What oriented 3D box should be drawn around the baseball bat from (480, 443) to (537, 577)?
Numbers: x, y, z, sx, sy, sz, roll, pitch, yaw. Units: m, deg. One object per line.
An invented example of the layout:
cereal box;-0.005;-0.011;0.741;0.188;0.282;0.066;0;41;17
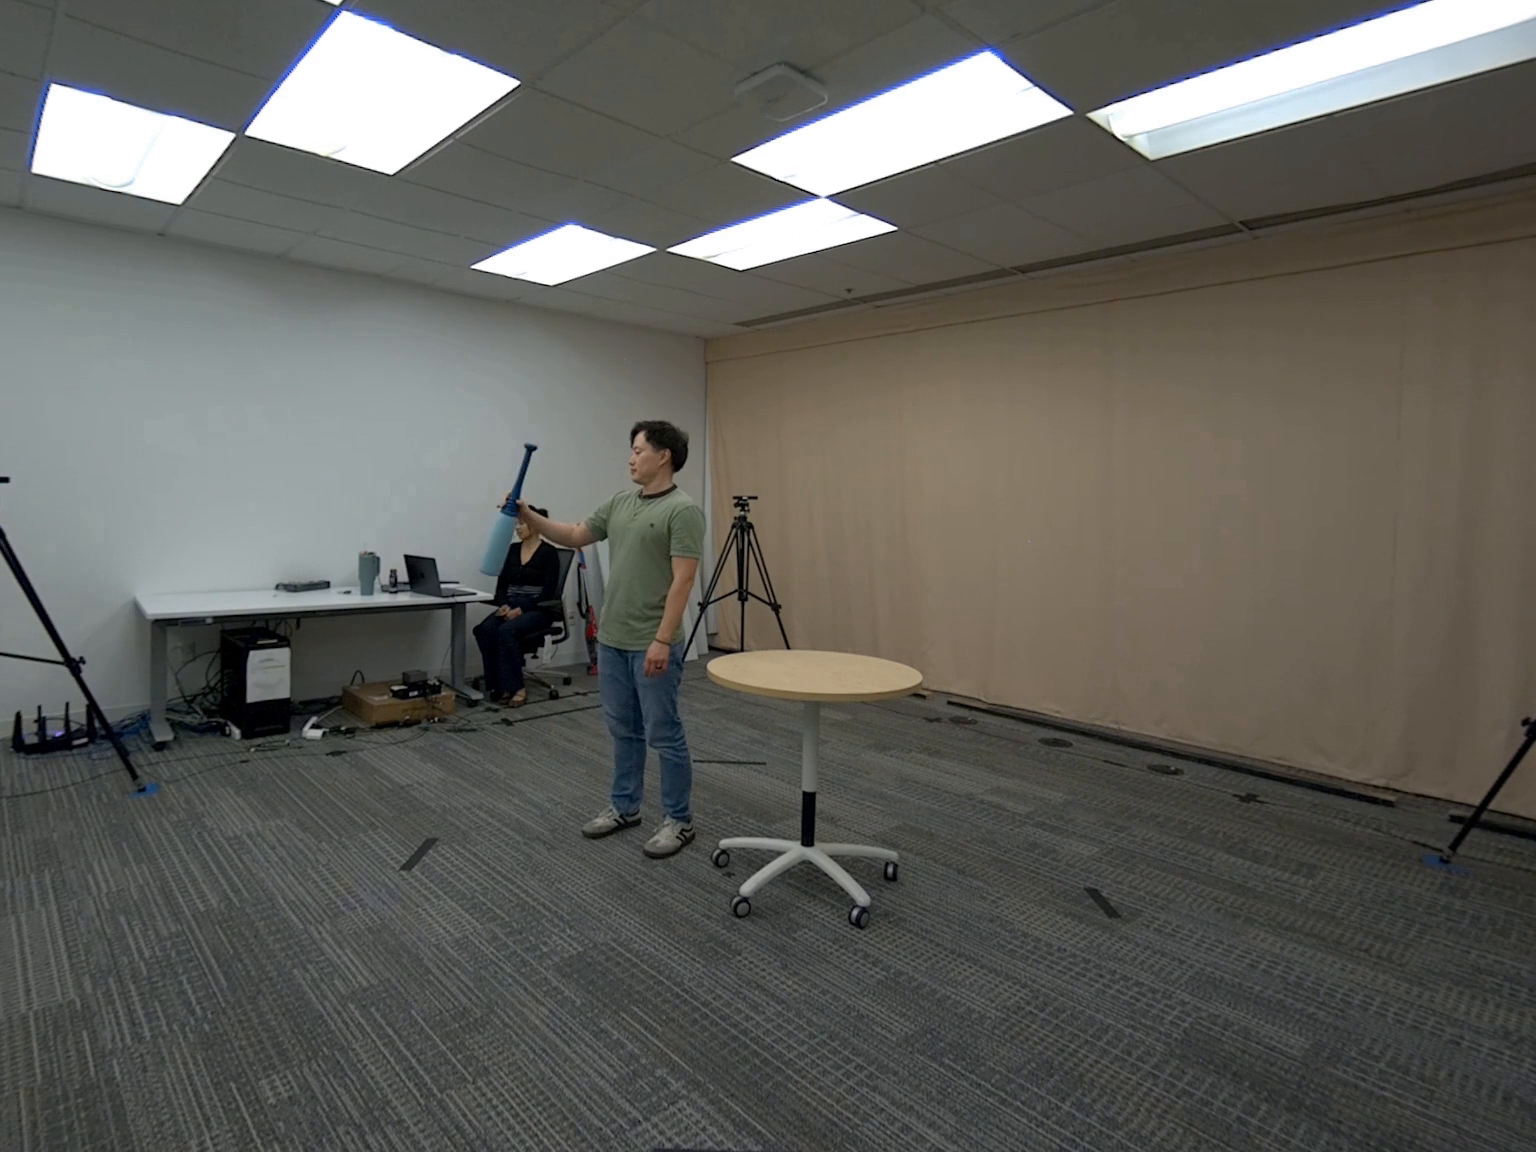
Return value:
baseball bat;-1.009;-0.270;3.266;0.089;0.542;0.089;21;6;-4
